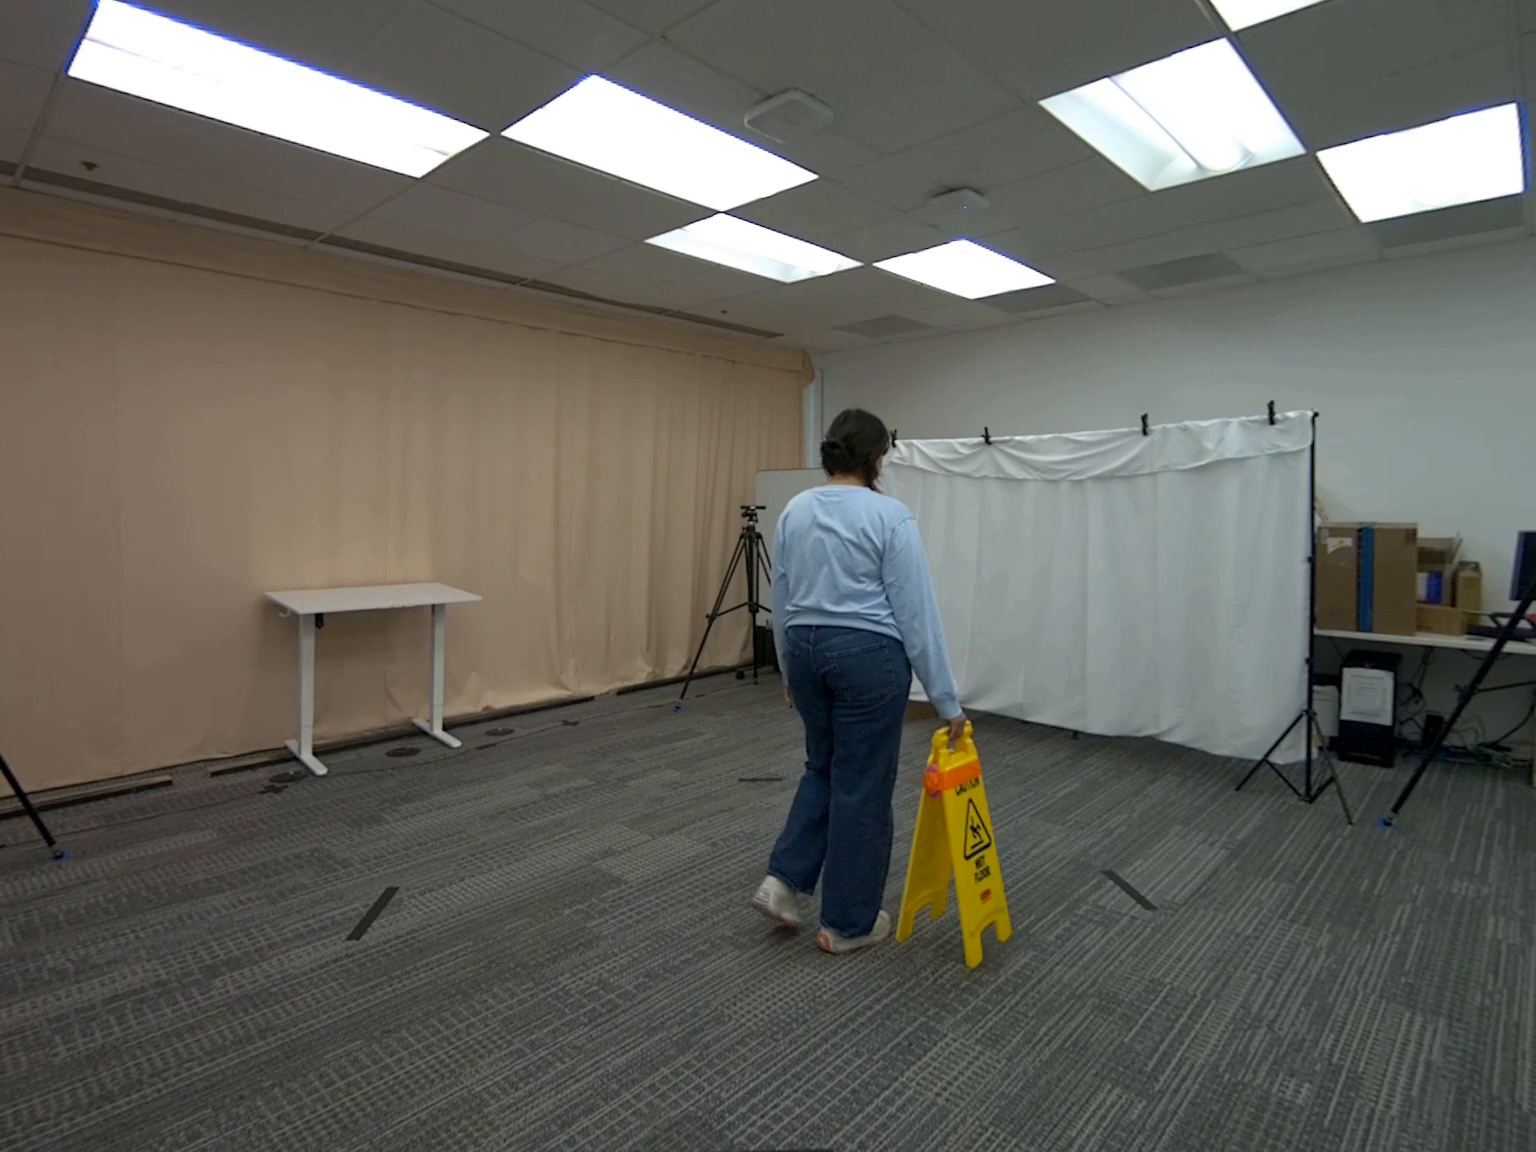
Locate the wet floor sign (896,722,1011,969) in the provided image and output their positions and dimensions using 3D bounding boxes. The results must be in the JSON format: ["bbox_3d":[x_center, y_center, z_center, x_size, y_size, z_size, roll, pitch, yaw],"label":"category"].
[{"bbox_3d":[0.563,0.780,2.543,0.299,0.645,0.273,2,3,42],"label":"wet floor sign"}]
